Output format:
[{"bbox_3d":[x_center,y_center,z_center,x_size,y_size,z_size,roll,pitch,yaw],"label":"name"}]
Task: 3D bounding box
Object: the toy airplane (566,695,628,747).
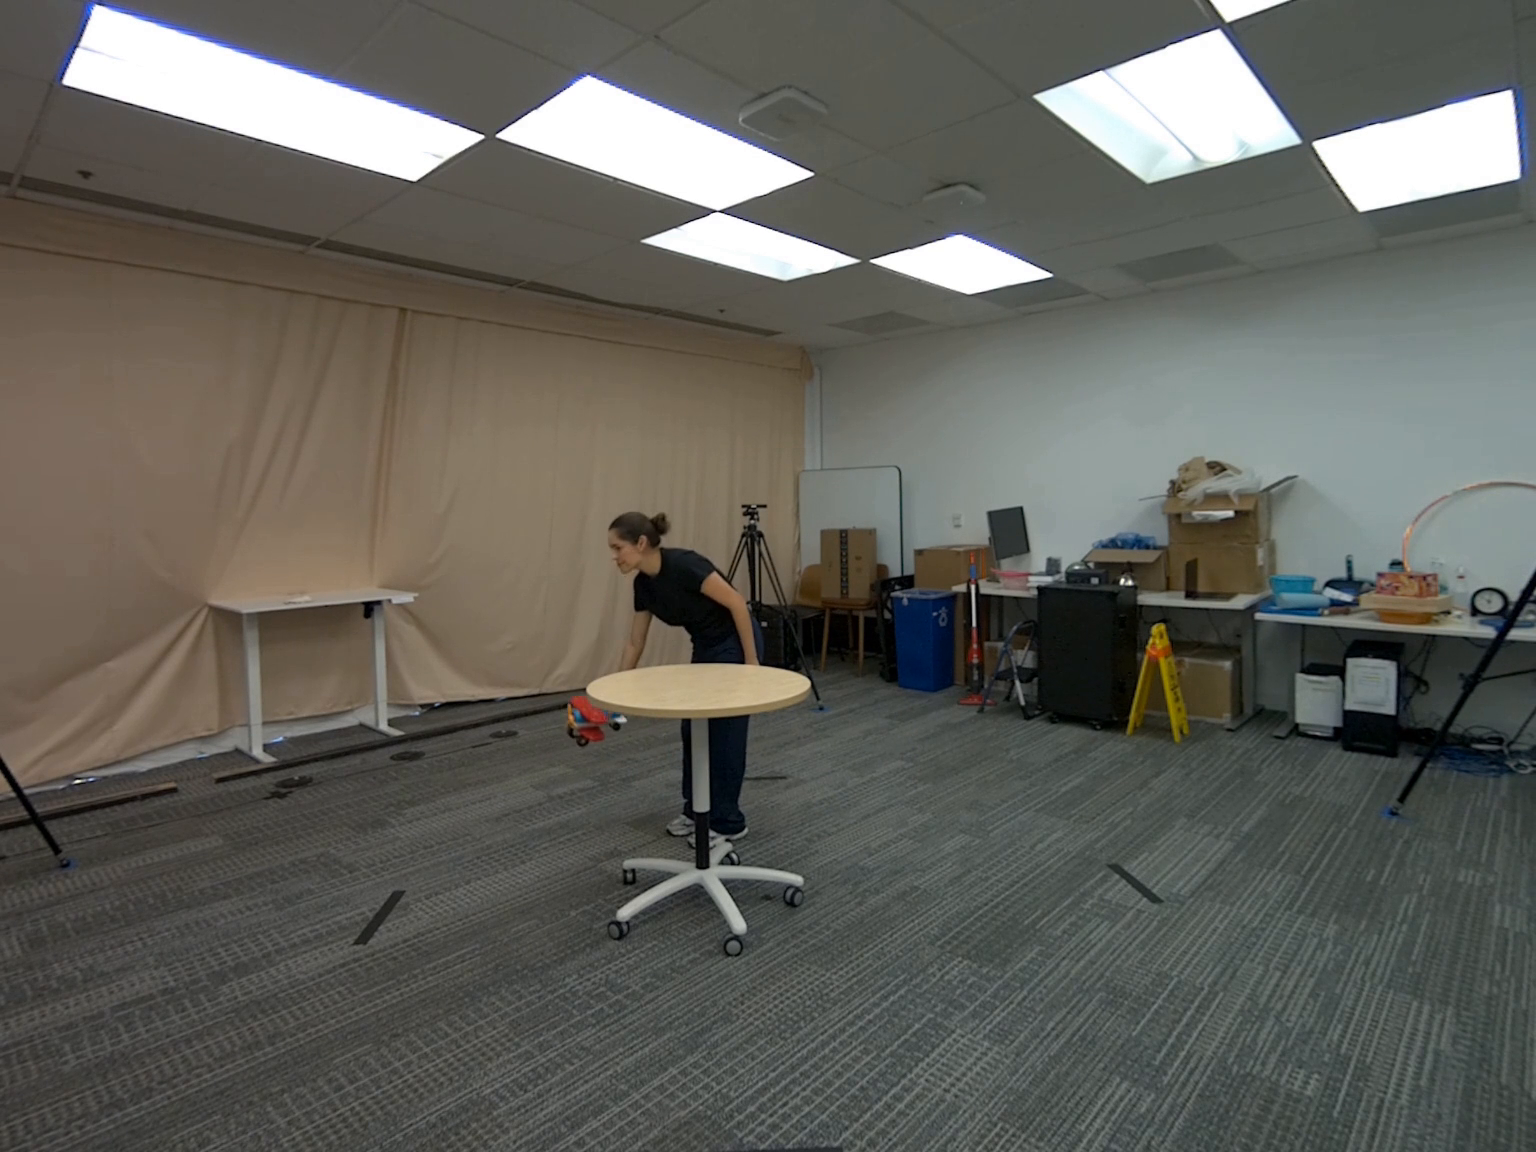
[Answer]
[{"bbox_3d":[-0.748,0.618,3.639,0.258,0.155,0.254,11,21,27],"label":"toy airplane"}]
